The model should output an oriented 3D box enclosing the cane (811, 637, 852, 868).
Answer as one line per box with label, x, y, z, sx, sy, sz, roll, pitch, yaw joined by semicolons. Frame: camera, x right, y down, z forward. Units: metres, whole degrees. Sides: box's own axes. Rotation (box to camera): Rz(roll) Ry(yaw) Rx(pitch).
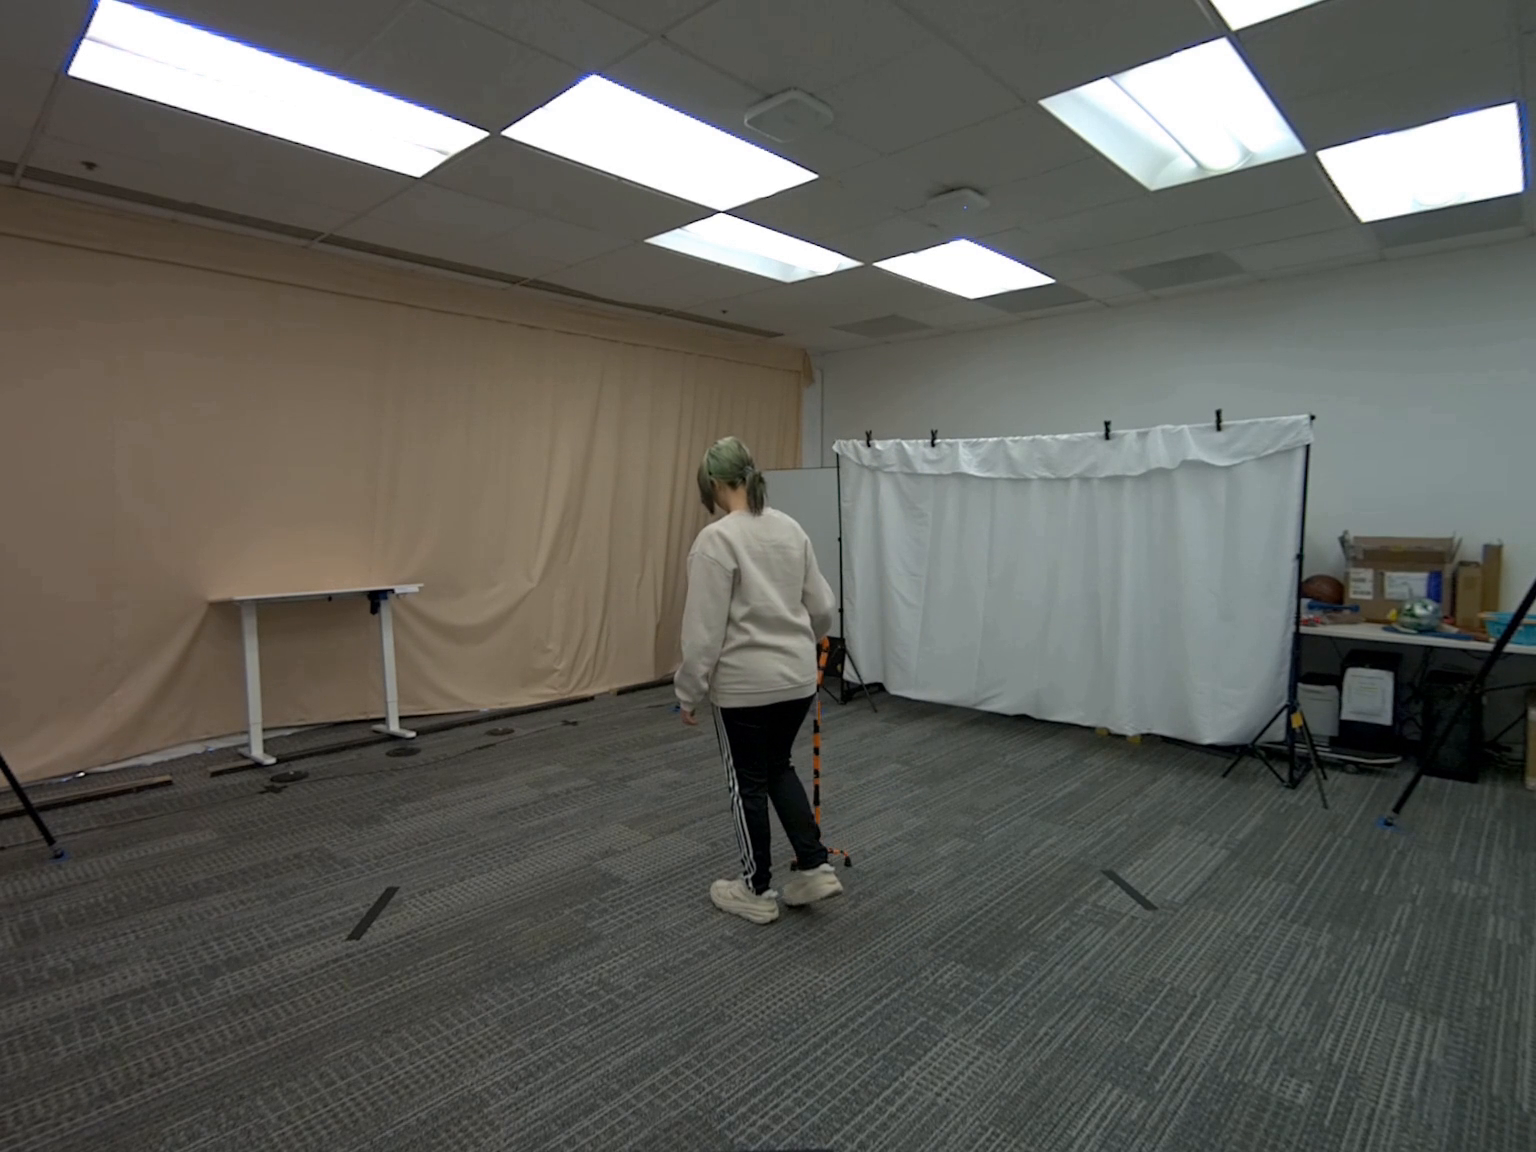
cane;0.200;0.669;3.224;0.156;0.907;0.200;0;1;43
